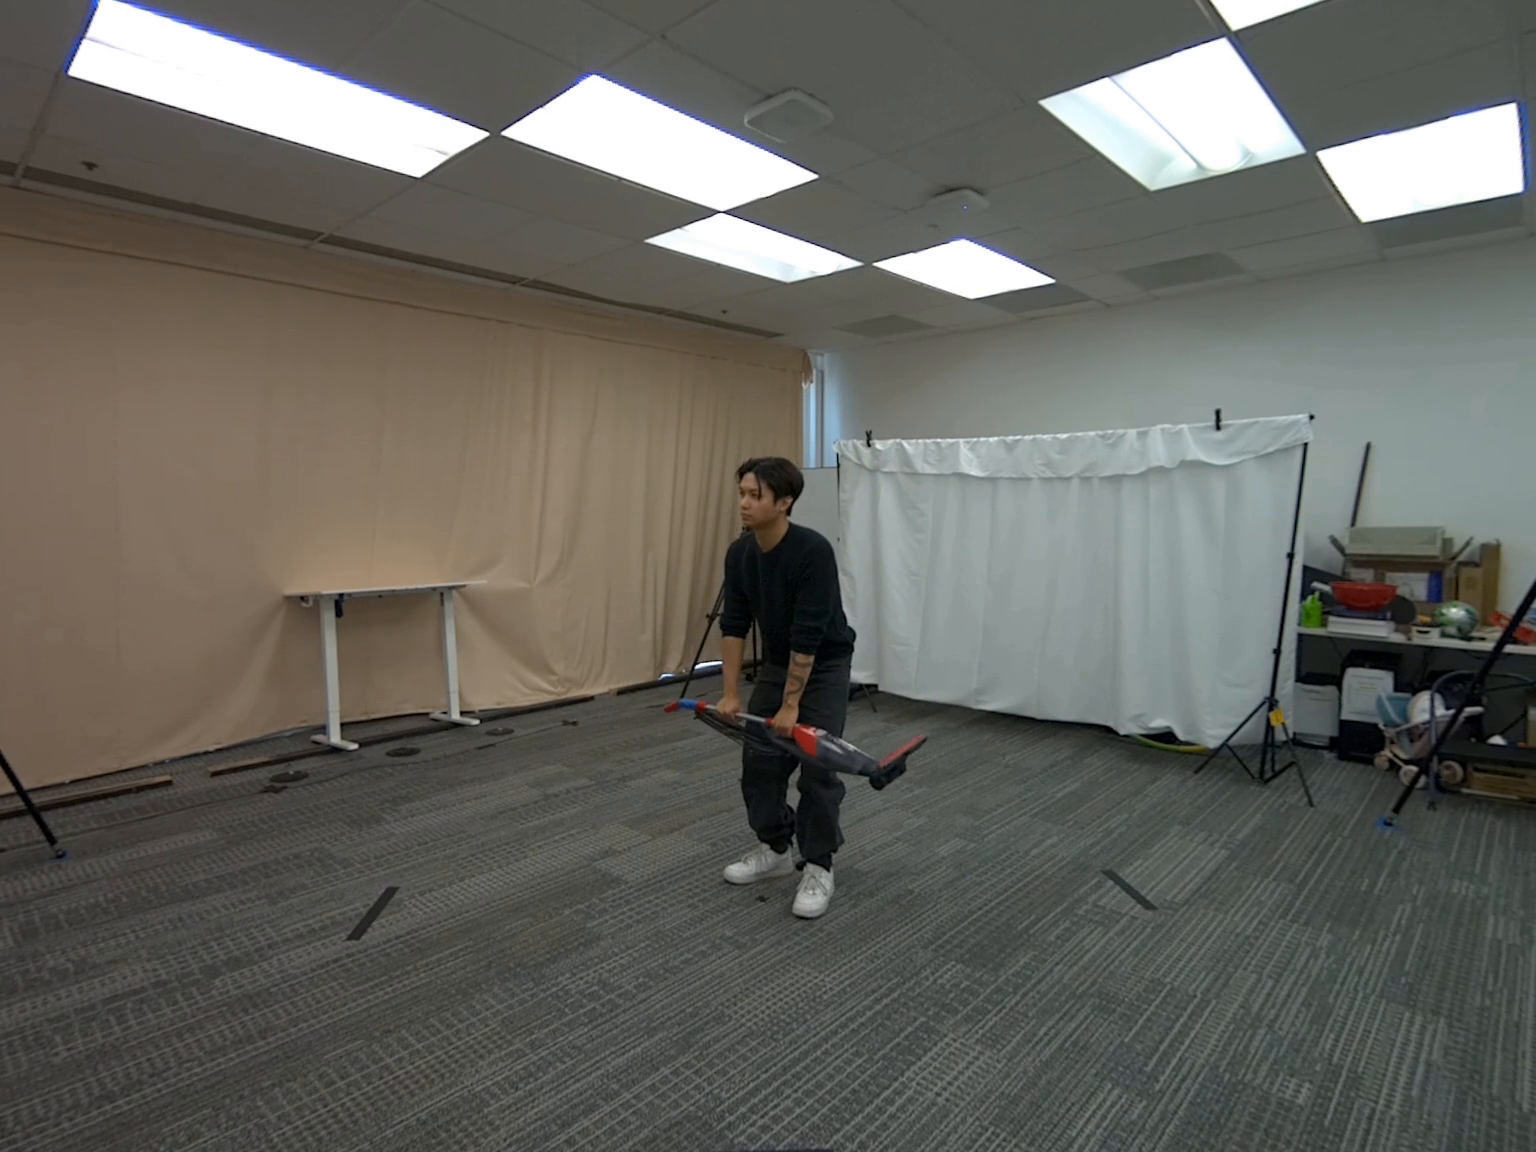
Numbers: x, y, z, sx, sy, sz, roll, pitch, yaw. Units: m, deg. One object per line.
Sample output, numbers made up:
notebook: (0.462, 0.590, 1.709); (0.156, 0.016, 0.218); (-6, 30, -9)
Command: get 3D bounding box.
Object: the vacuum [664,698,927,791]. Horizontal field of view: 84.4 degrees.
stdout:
vacuum: (0.004, 0.553, 2.911); (1.084, 0.143, 0.246); (4, 16, 42)
